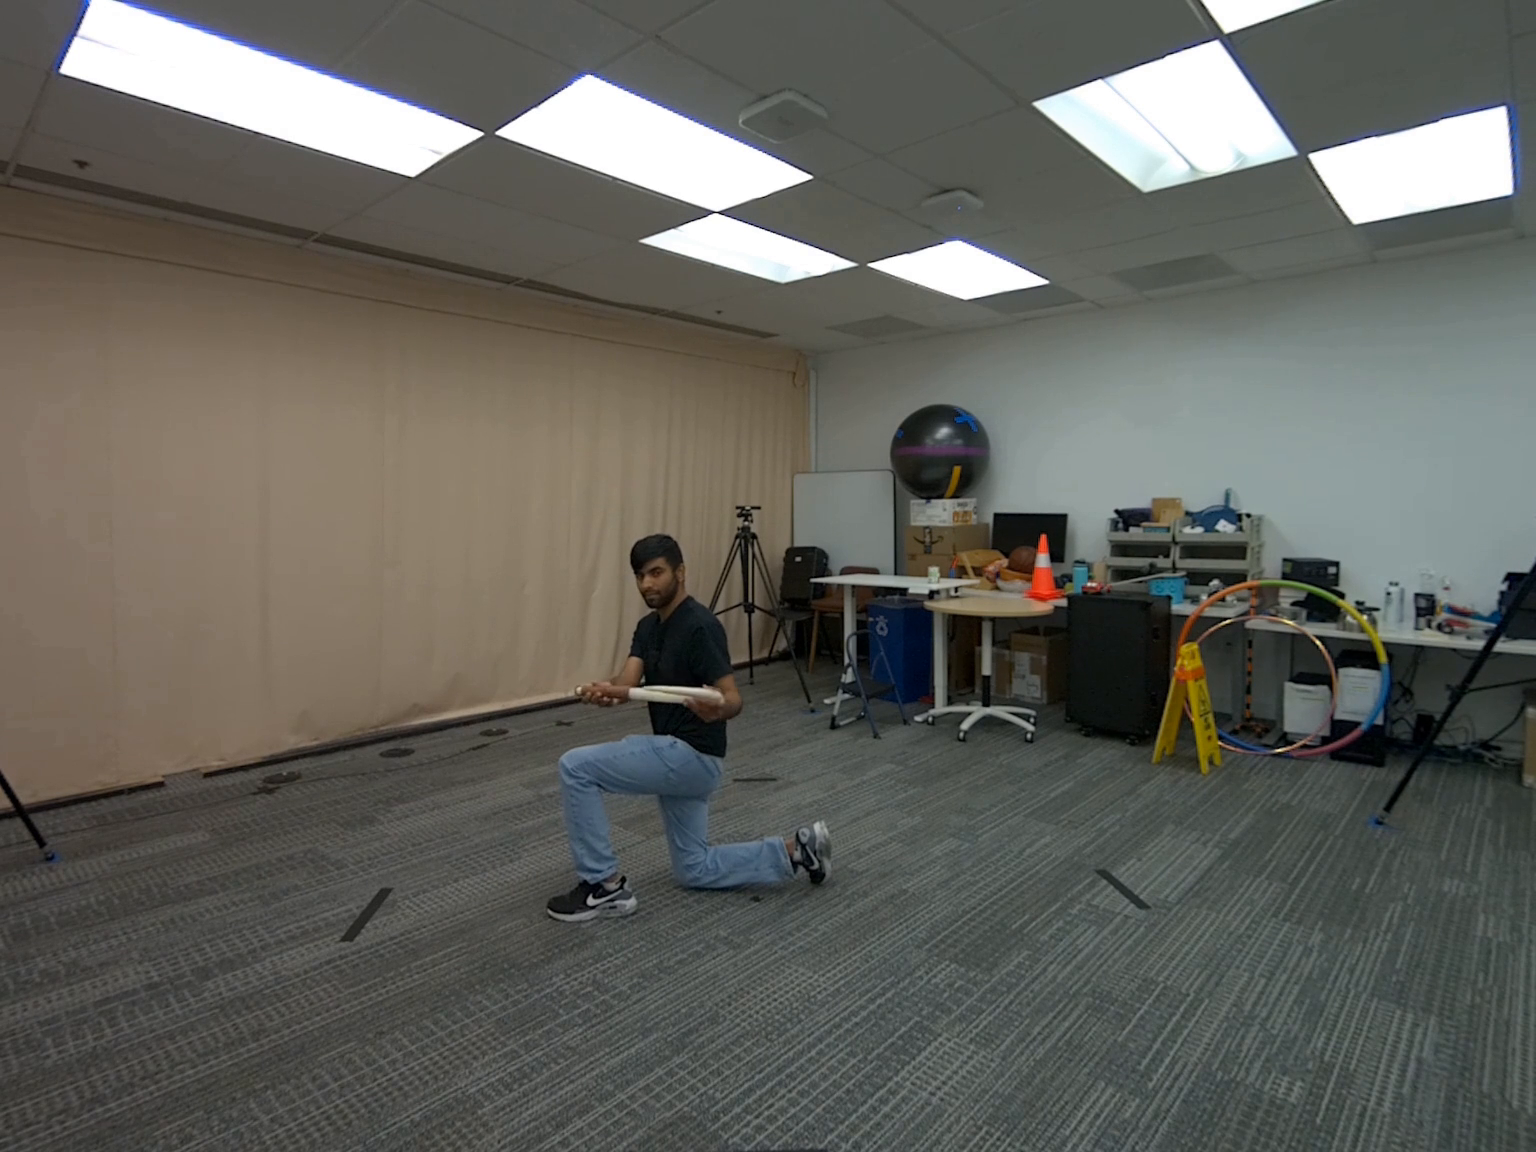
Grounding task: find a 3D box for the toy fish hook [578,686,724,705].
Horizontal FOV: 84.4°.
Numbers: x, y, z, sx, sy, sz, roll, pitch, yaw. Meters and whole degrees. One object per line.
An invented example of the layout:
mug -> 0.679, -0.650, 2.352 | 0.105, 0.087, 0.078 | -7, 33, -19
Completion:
toy fish hook -> -0.407, 0.349, 2.520 | 0.517, 0.049, 0.218 | -1, -19, 20
